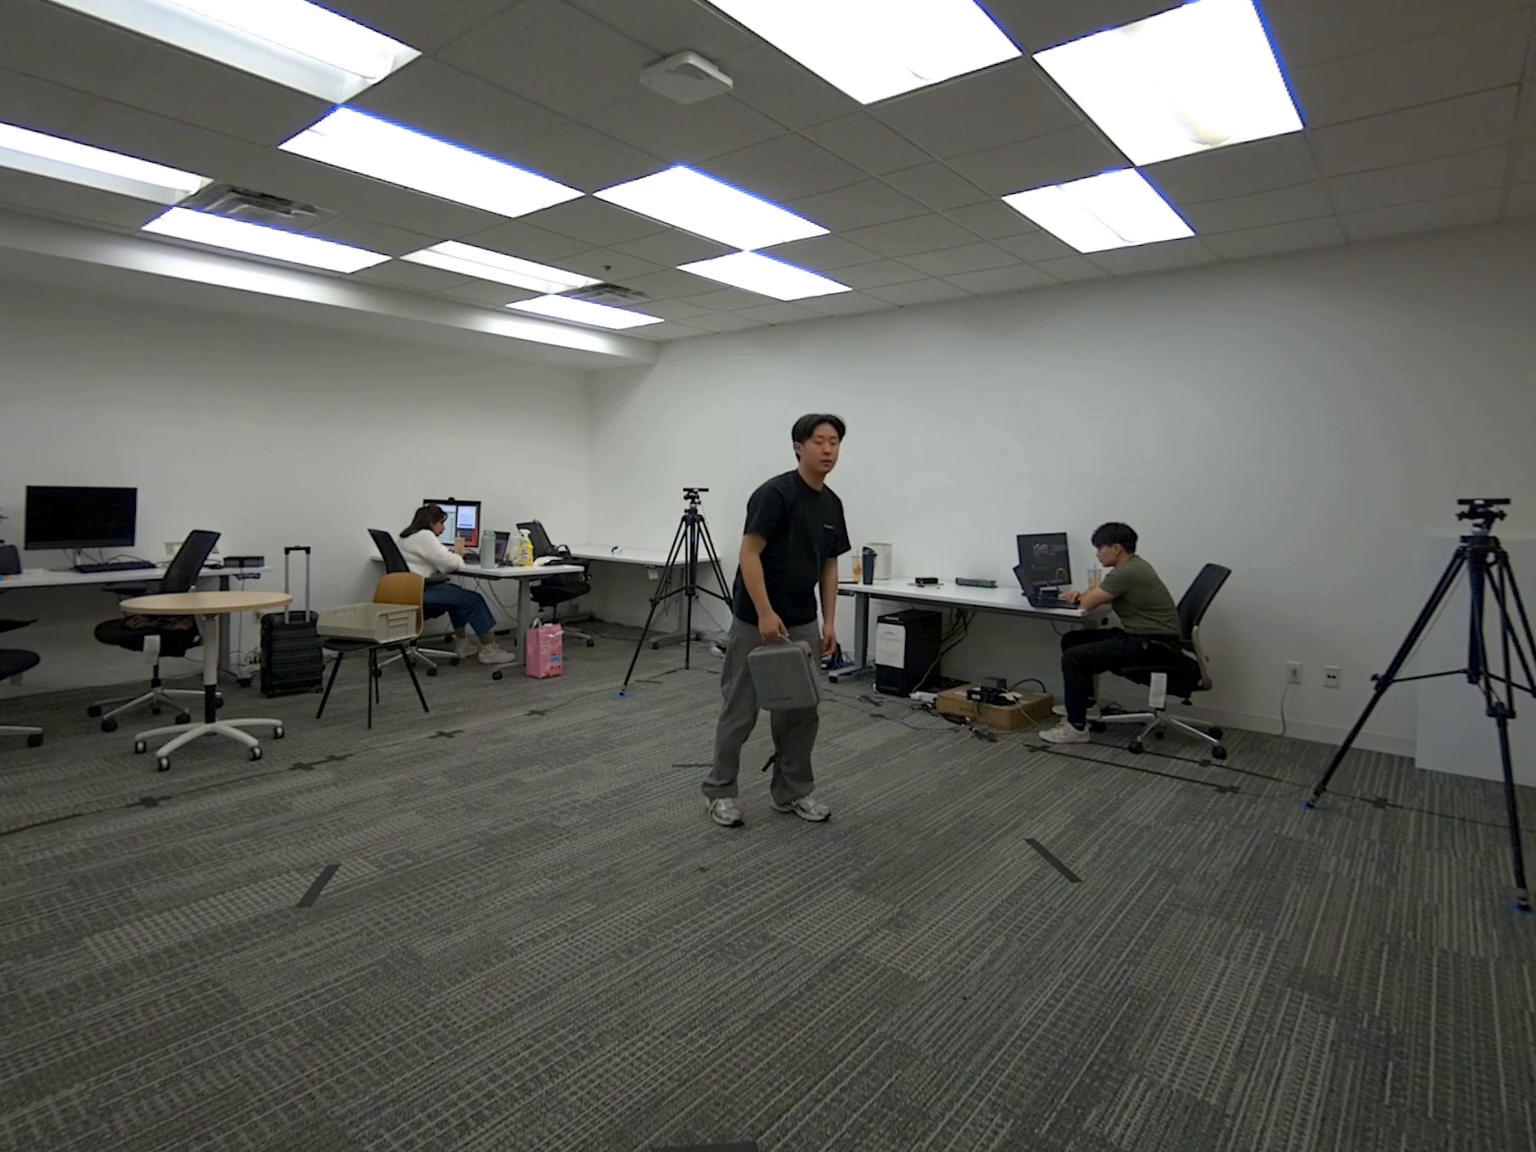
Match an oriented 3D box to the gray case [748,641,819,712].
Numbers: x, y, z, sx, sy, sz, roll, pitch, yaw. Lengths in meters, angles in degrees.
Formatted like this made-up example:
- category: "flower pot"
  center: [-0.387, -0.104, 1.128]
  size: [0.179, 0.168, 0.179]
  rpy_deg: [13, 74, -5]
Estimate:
- category: "gray case"
  center: [0.036, 0.396, 3.366]
  size: [0.269, 0.285, 0.101]
  rpy_deg: [-11, 8, 30]
